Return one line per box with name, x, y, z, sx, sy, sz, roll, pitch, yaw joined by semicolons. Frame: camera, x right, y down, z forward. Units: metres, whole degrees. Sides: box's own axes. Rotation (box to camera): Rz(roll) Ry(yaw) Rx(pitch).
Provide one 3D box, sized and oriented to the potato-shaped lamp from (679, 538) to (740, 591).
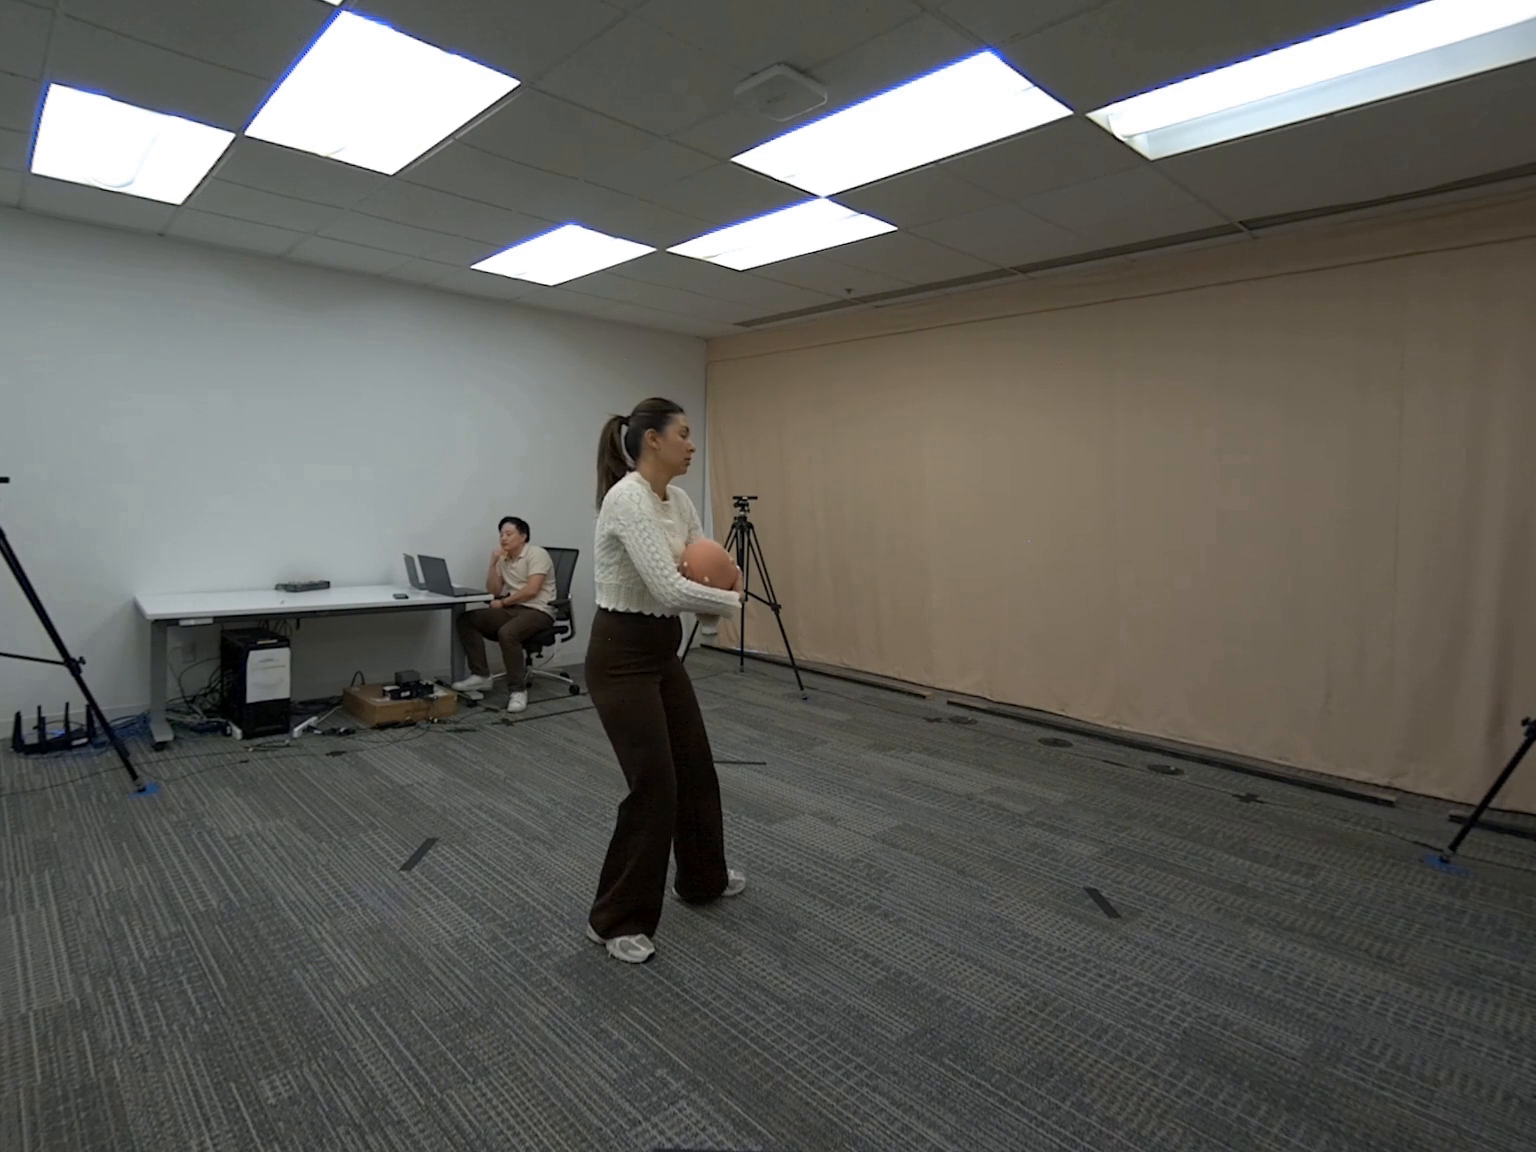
potato-shaped lamp;-0.189;-0.029;2.437;0.168;0.172;0.194;28;-26;16
